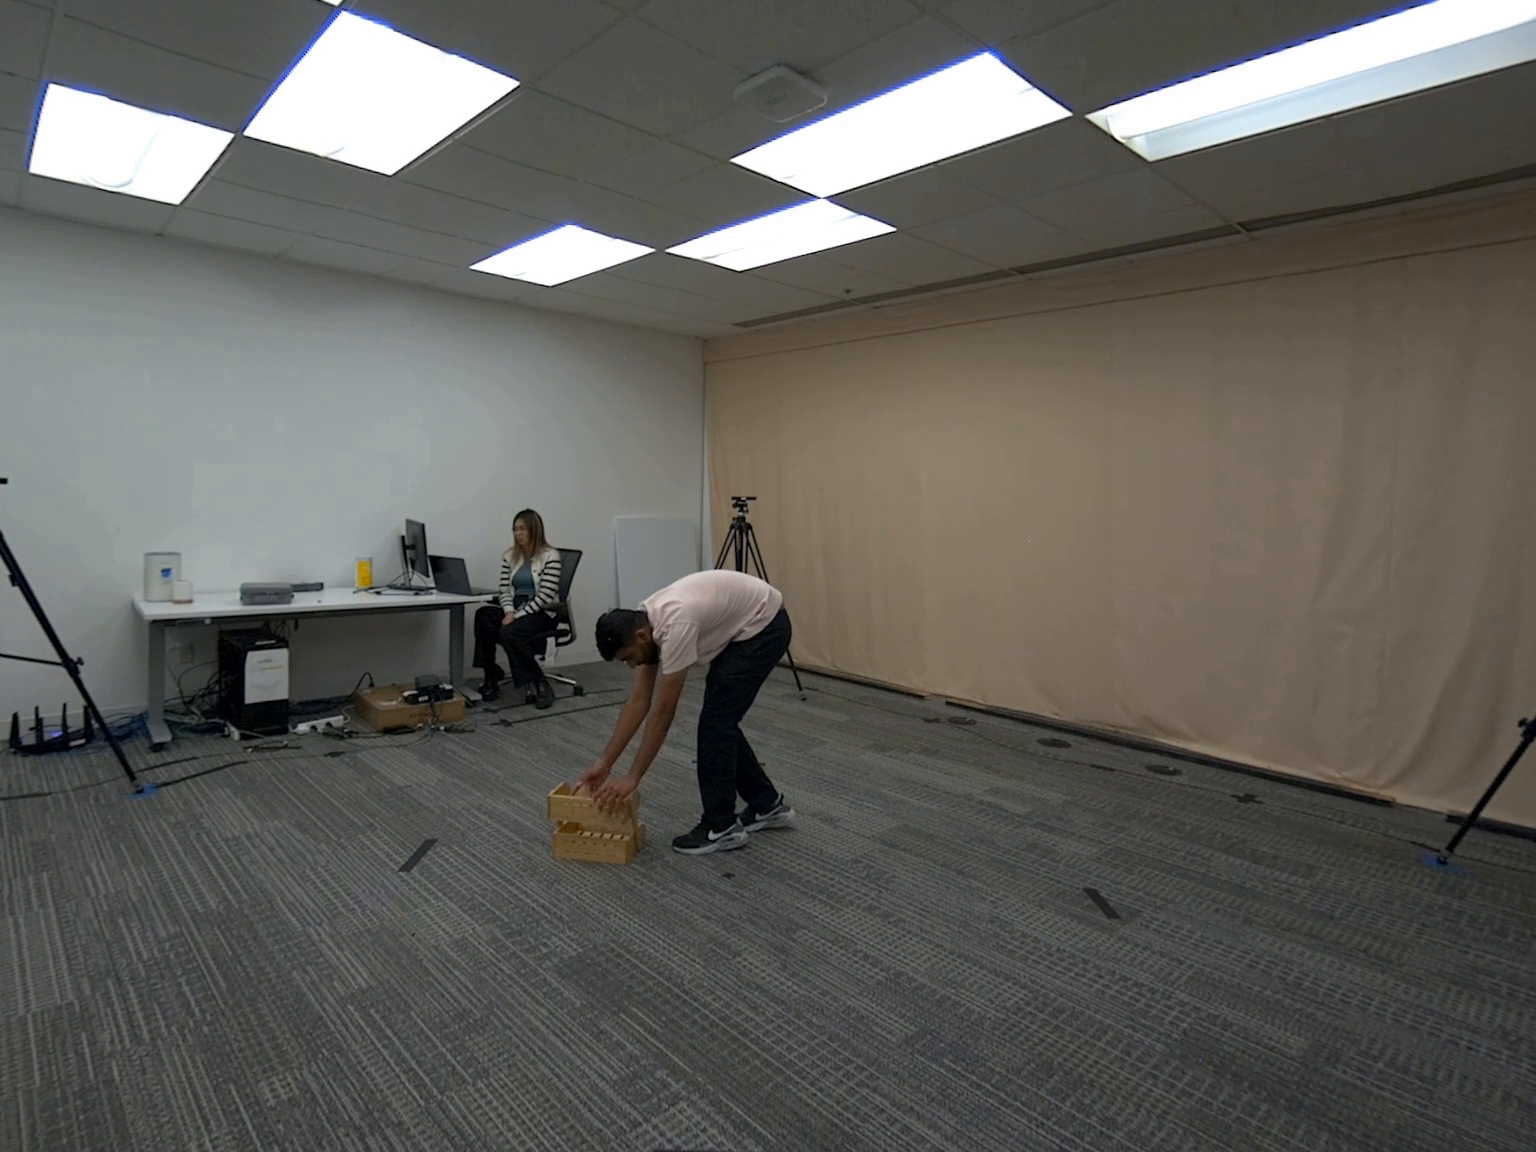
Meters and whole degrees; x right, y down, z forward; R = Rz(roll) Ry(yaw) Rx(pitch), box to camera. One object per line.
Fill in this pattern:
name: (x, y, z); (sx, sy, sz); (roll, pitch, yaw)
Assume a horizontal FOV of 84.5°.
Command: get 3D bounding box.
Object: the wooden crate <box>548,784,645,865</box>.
wooden crate: (-0.673, 0.945, 3.288); (0.327, 0.272, 0.301); (1, 5, 8)
